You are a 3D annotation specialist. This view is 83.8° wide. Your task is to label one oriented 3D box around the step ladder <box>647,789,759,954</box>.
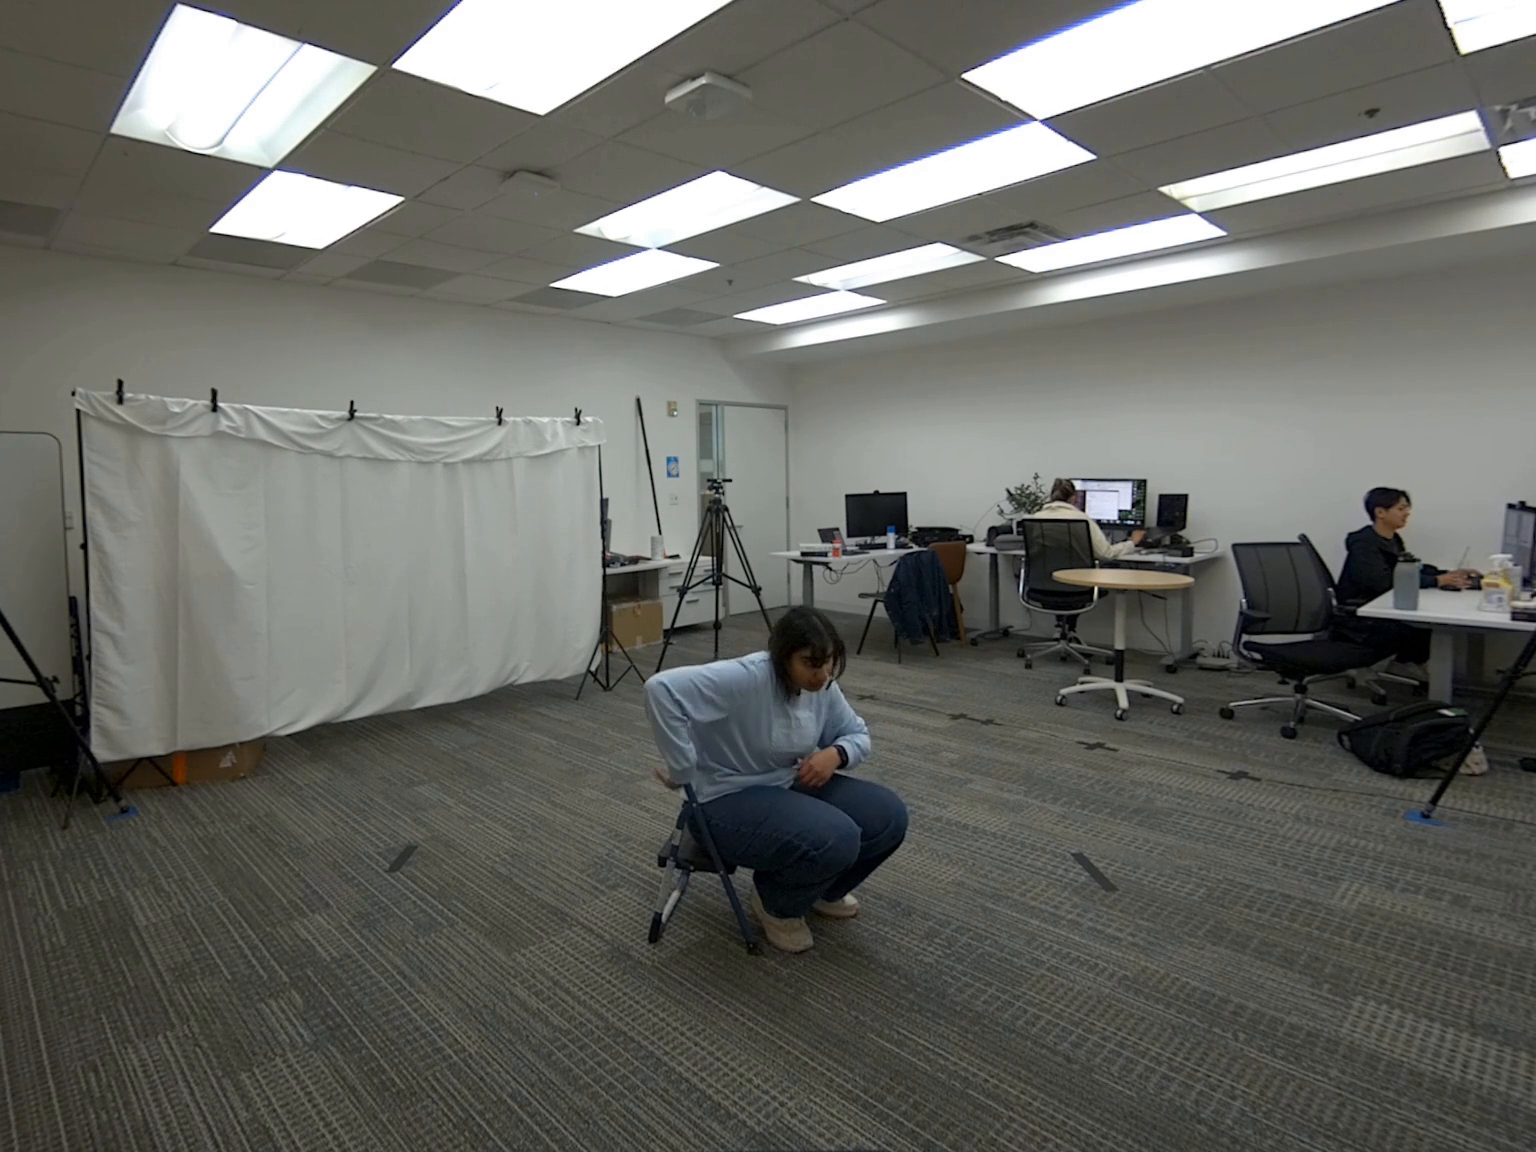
[{"bbox_3d":[-0.171,0.795,2.737,0.352,0.605,0.428,0,3,8],"label":"step ladder"}]
